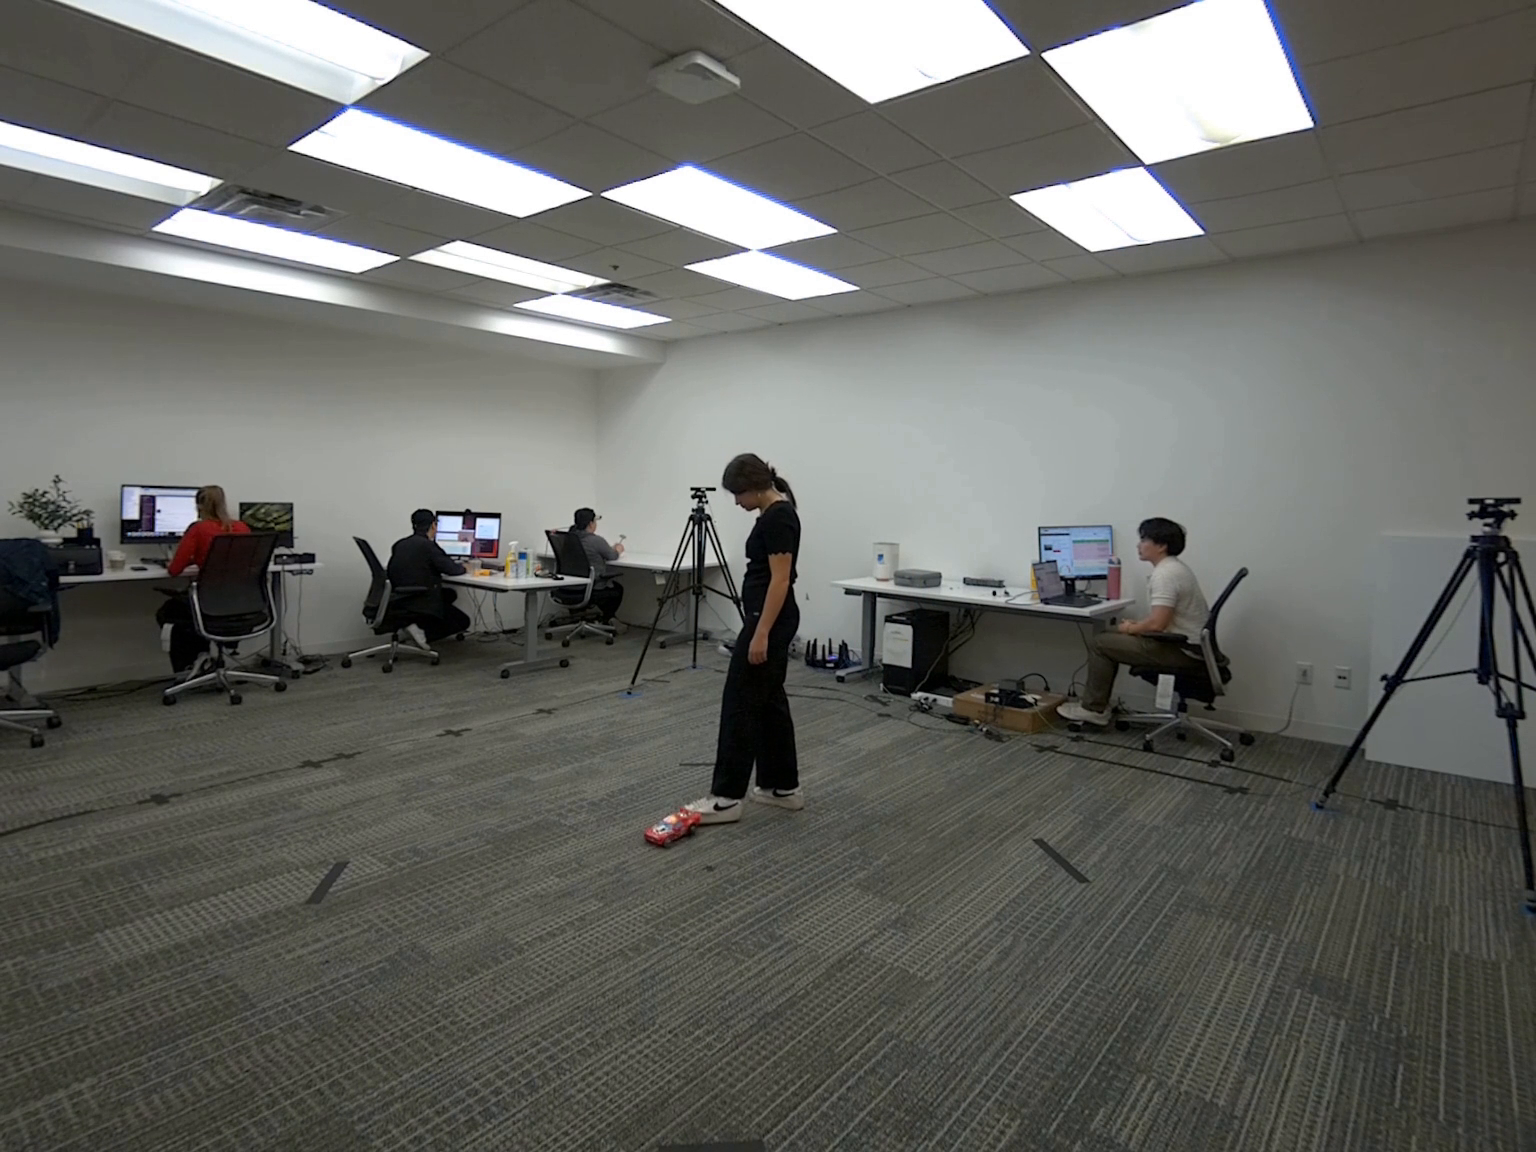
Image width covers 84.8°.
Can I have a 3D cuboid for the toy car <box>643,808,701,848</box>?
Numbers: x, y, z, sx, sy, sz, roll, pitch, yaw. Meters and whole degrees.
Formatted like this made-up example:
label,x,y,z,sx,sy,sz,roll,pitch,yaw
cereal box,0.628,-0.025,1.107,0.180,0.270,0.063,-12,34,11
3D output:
label,x,y,z,sx,sy,sz,roll,pitch,yaw
toy car,-0.383,1.000,3.384,0.135,0.082,0.250,5,21,39
